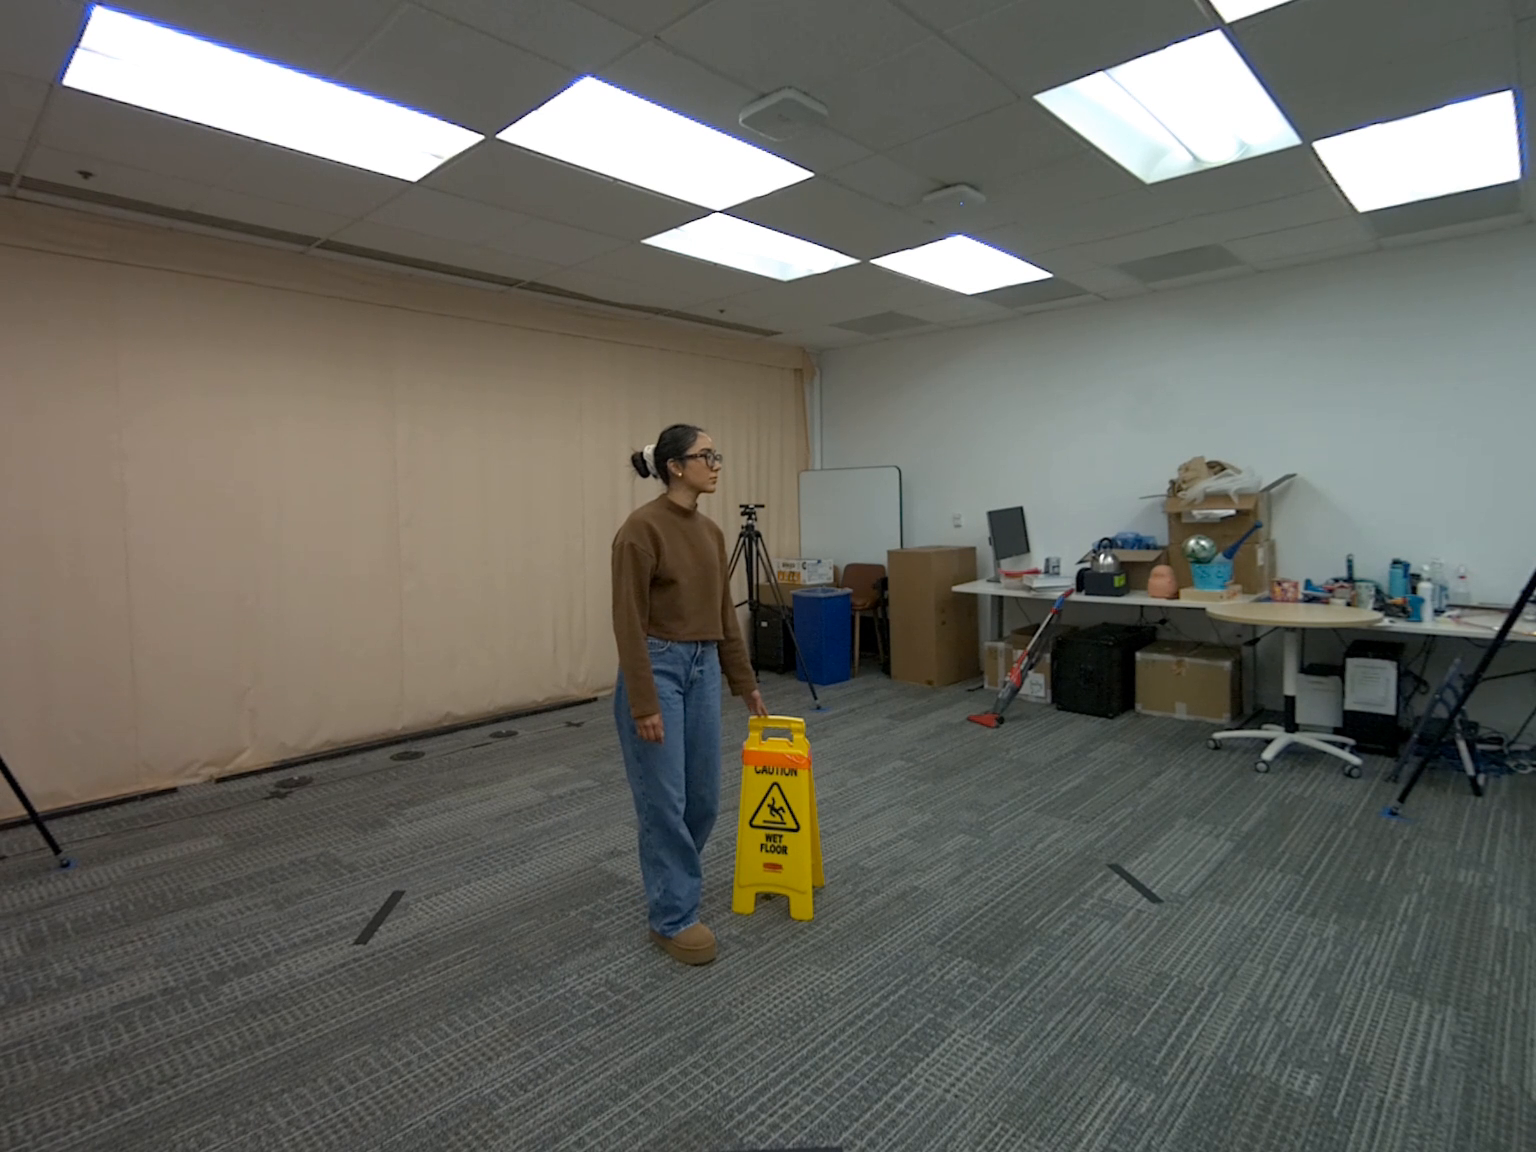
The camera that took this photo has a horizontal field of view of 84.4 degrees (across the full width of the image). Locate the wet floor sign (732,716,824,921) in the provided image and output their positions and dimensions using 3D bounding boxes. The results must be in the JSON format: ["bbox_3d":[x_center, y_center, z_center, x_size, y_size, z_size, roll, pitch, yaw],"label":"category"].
[{"bbox_3d":[0.040,0.817,2.961,0.287,0.645,0.285,1,3,14],"label":"wet floor sign"}]
